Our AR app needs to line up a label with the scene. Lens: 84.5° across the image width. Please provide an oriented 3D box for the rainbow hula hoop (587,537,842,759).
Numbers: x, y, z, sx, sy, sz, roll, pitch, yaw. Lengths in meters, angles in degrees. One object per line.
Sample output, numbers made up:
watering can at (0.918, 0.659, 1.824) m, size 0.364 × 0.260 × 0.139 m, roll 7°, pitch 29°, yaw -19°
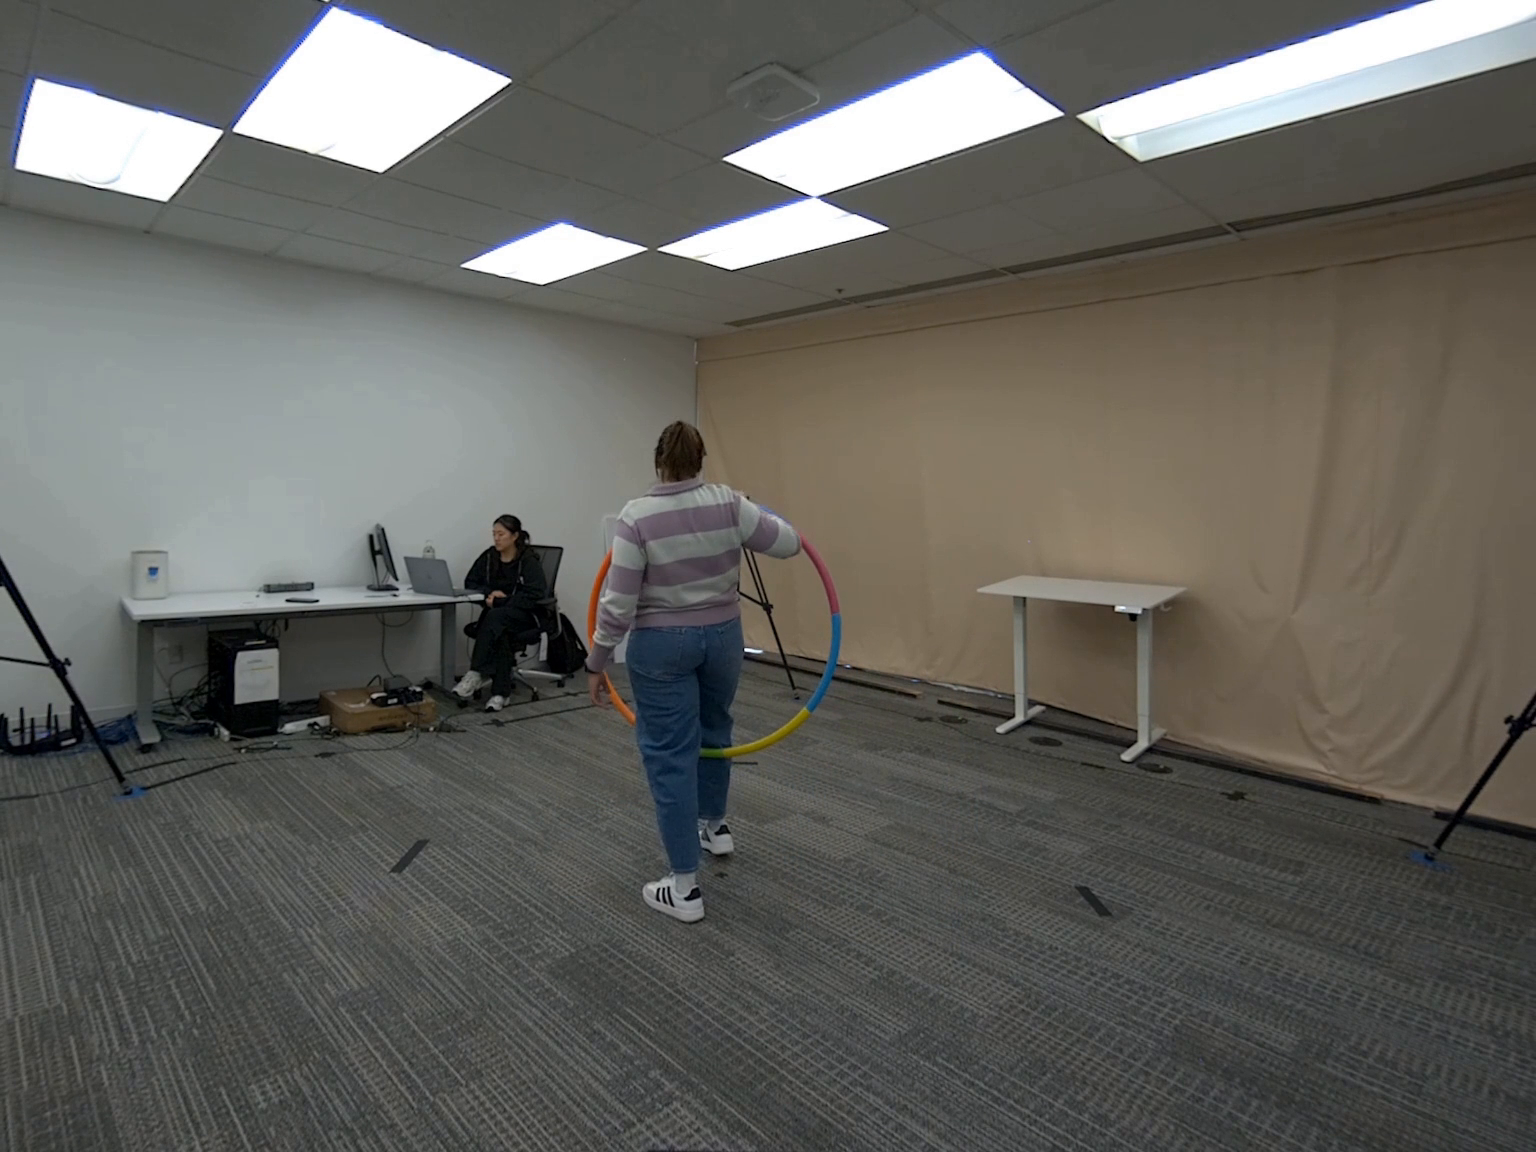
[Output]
rainbow hula hoop at (-0.215, 0.180, 3.167) m, size 0.997 × 0.986 × 0.051 m, roll 2°, pitch -1°, yaw 14°
